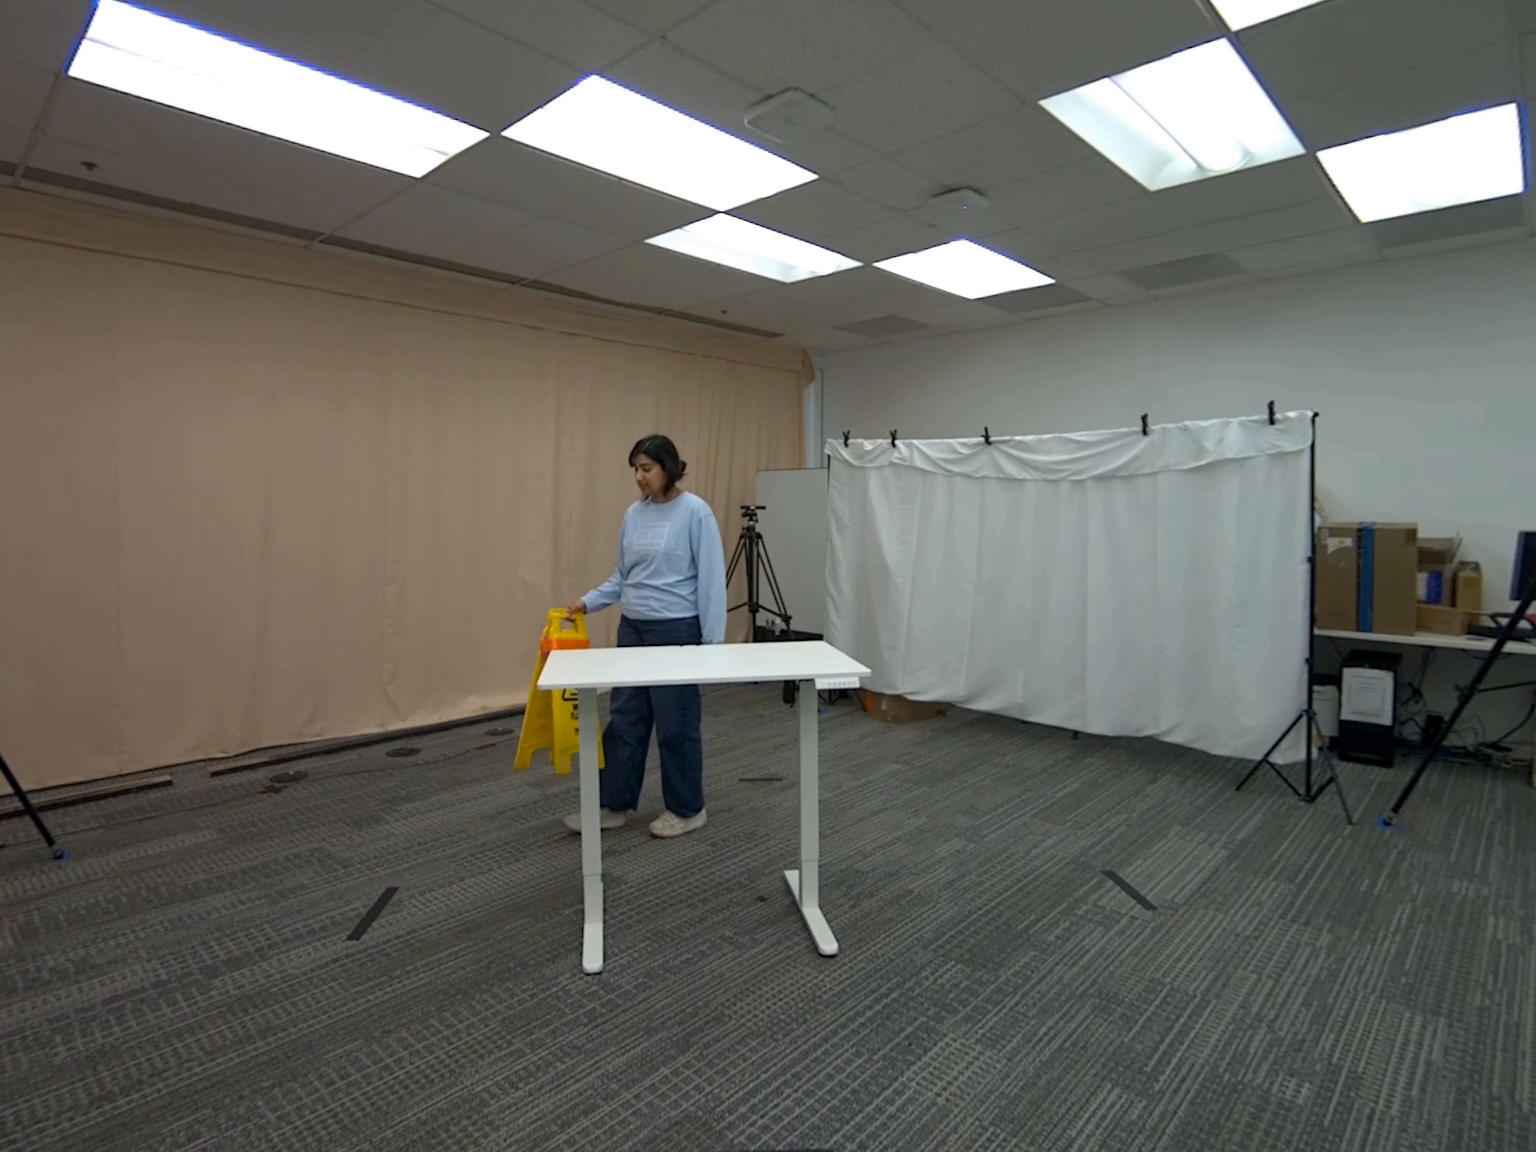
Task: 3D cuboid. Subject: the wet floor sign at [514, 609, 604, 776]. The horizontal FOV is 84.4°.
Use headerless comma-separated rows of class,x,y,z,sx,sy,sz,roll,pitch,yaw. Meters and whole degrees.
wet floor sign,-0.850,0.470,3.488,0.298,0.649,0.273,-3,-9,32
